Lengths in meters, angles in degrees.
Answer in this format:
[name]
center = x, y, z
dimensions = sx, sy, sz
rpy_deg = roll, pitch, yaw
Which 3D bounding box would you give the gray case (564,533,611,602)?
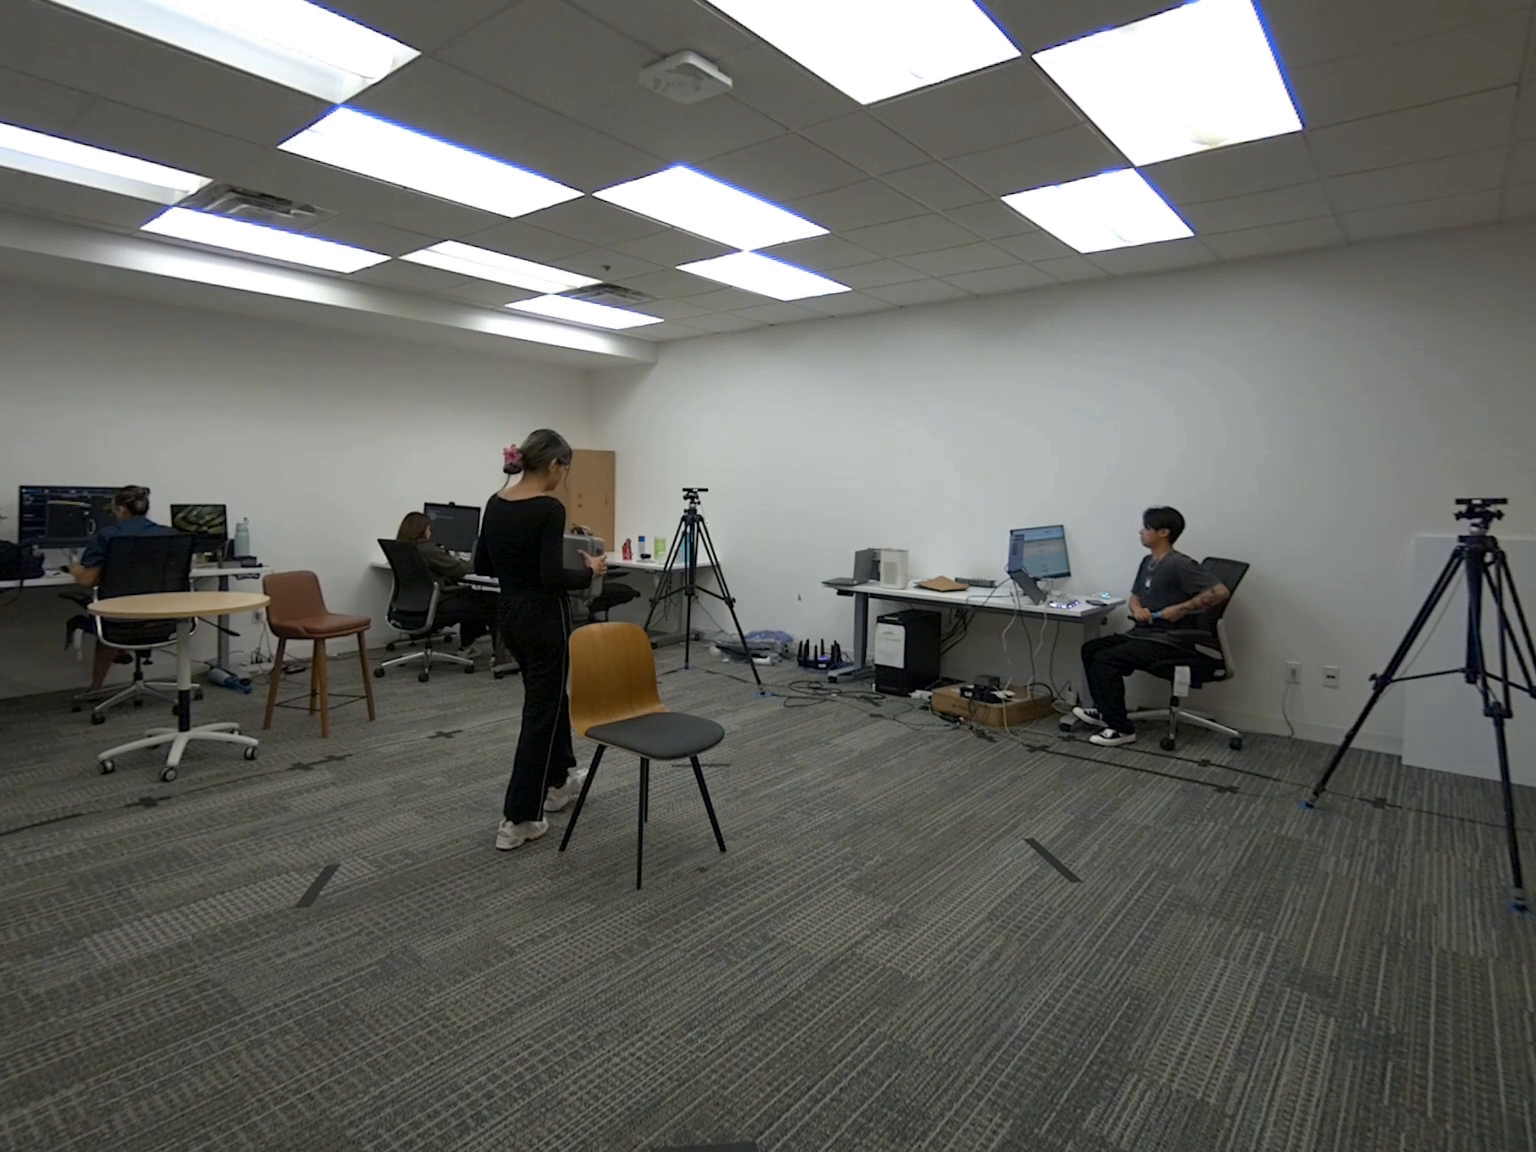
[gray case]
center = -0.804, -0.043, 3.550
dimensions = 0.266, 0.260, 0.101
rpy_deg = 7, 1, 39
